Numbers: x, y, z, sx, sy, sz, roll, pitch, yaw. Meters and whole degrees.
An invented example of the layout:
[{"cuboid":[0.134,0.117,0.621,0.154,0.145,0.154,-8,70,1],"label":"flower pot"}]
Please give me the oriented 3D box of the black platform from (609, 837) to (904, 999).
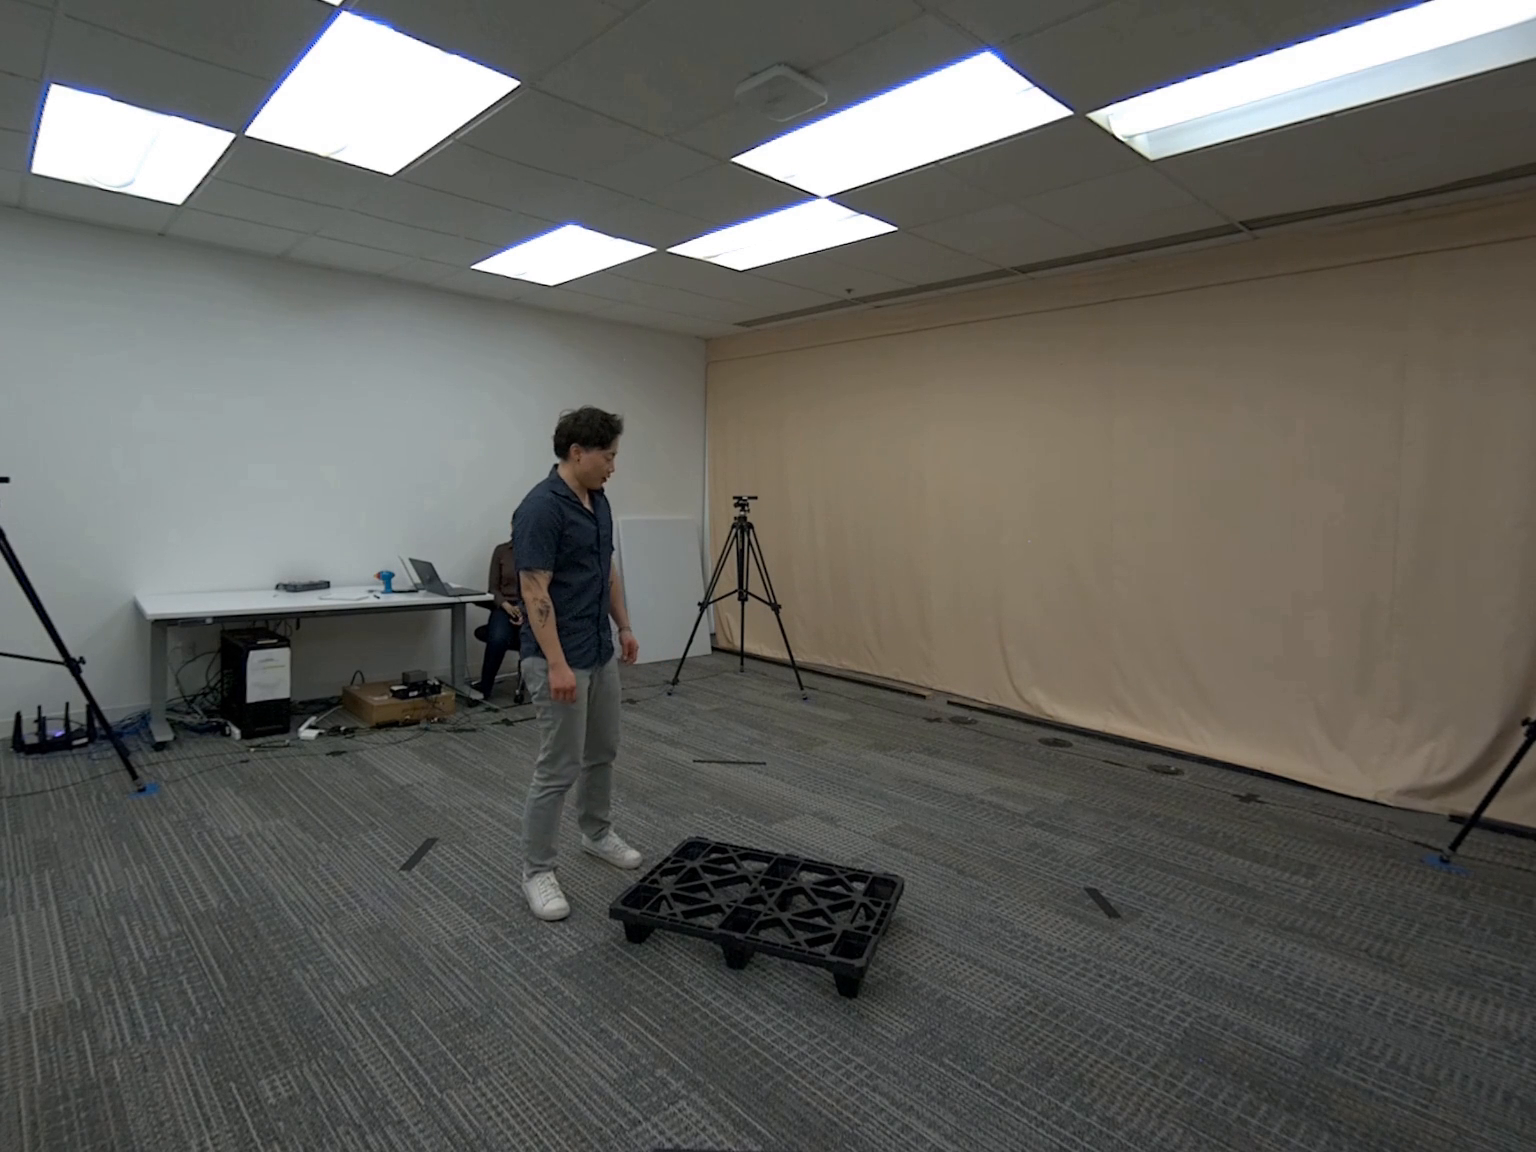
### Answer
[{"cuboid":[-0.020,1.076,2.691,0.819,0.143,0.597,3,6,21],"label":"black platform"}]
